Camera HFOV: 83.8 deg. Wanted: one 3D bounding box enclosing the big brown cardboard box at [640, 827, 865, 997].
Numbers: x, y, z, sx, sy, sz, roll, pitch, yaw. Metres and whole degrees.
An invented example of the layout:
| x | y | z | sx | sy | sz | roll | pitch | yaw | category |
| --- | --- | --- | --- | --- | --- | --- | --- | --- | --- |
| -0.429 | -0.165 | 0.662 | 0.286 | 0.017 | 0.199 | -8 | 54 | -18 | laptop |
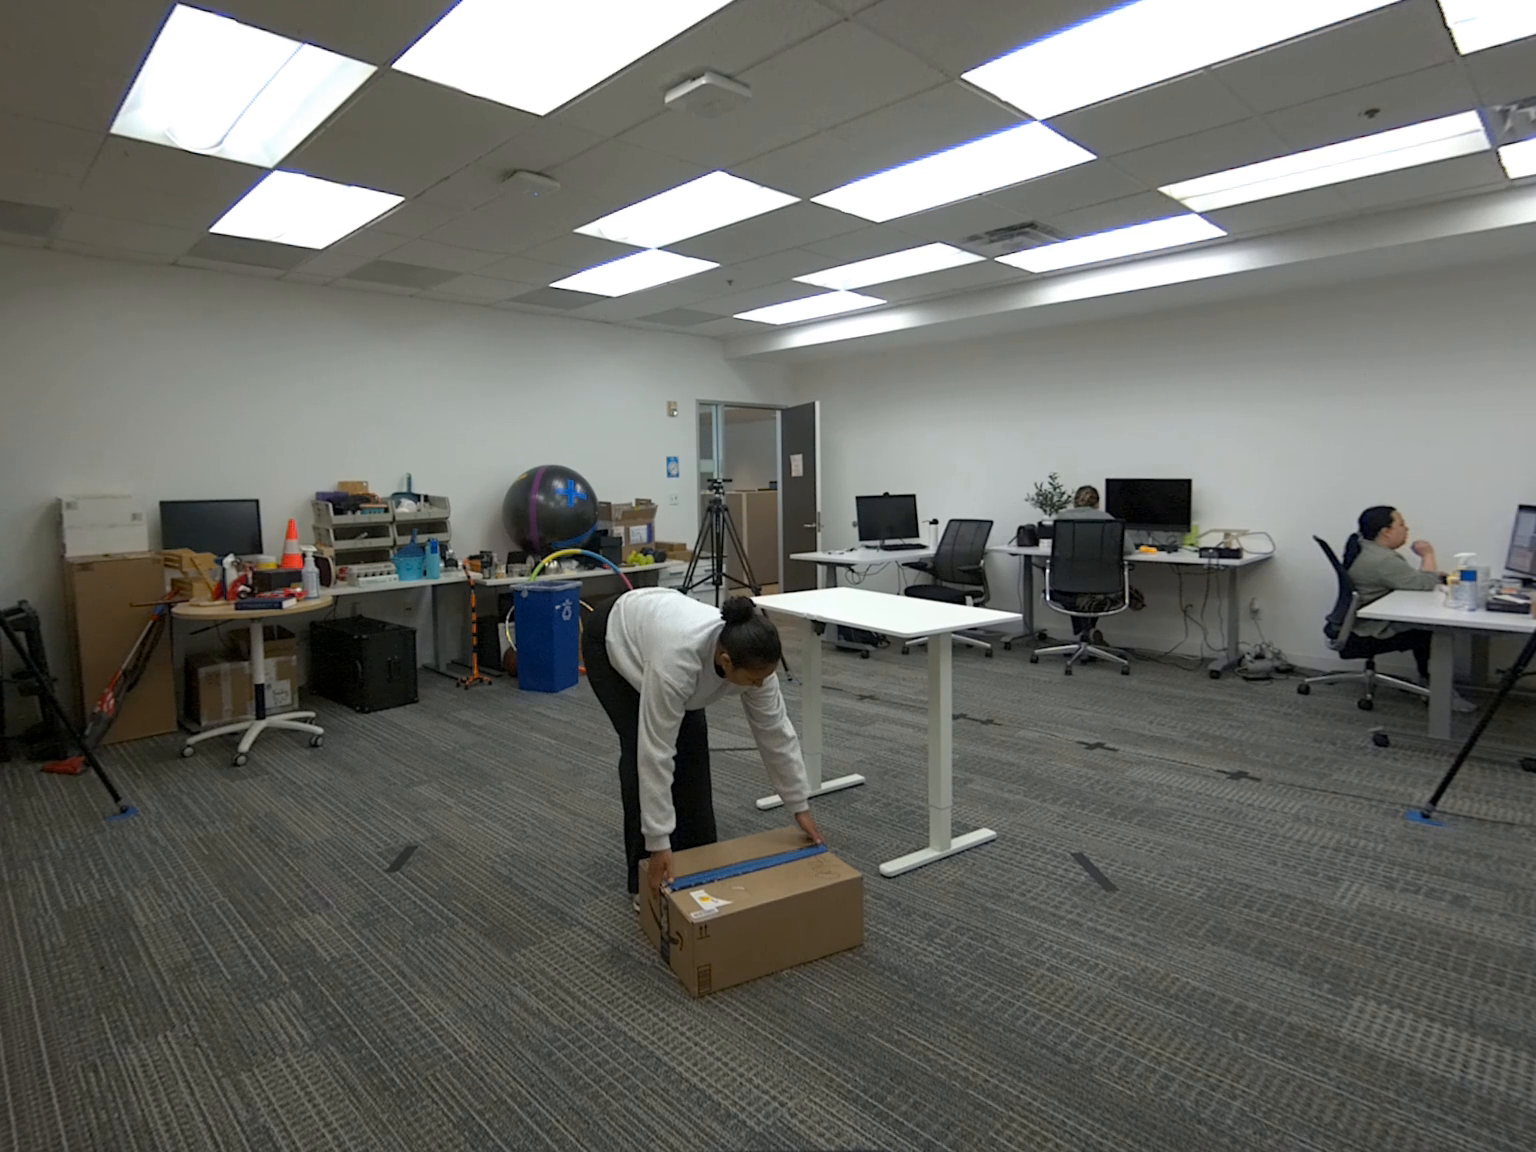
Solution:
| x | y | z | sx | sy | sz | roll | pitch | yaw | category |
| --- | --- | --- | --- | --- | --- | --- | --- | --- | --- |
| -0.063 | 0.987 | 2.602 | 0.576 | 0.232 | 0.429 | -4 | 7 | -28 | big brown cardboard box |
